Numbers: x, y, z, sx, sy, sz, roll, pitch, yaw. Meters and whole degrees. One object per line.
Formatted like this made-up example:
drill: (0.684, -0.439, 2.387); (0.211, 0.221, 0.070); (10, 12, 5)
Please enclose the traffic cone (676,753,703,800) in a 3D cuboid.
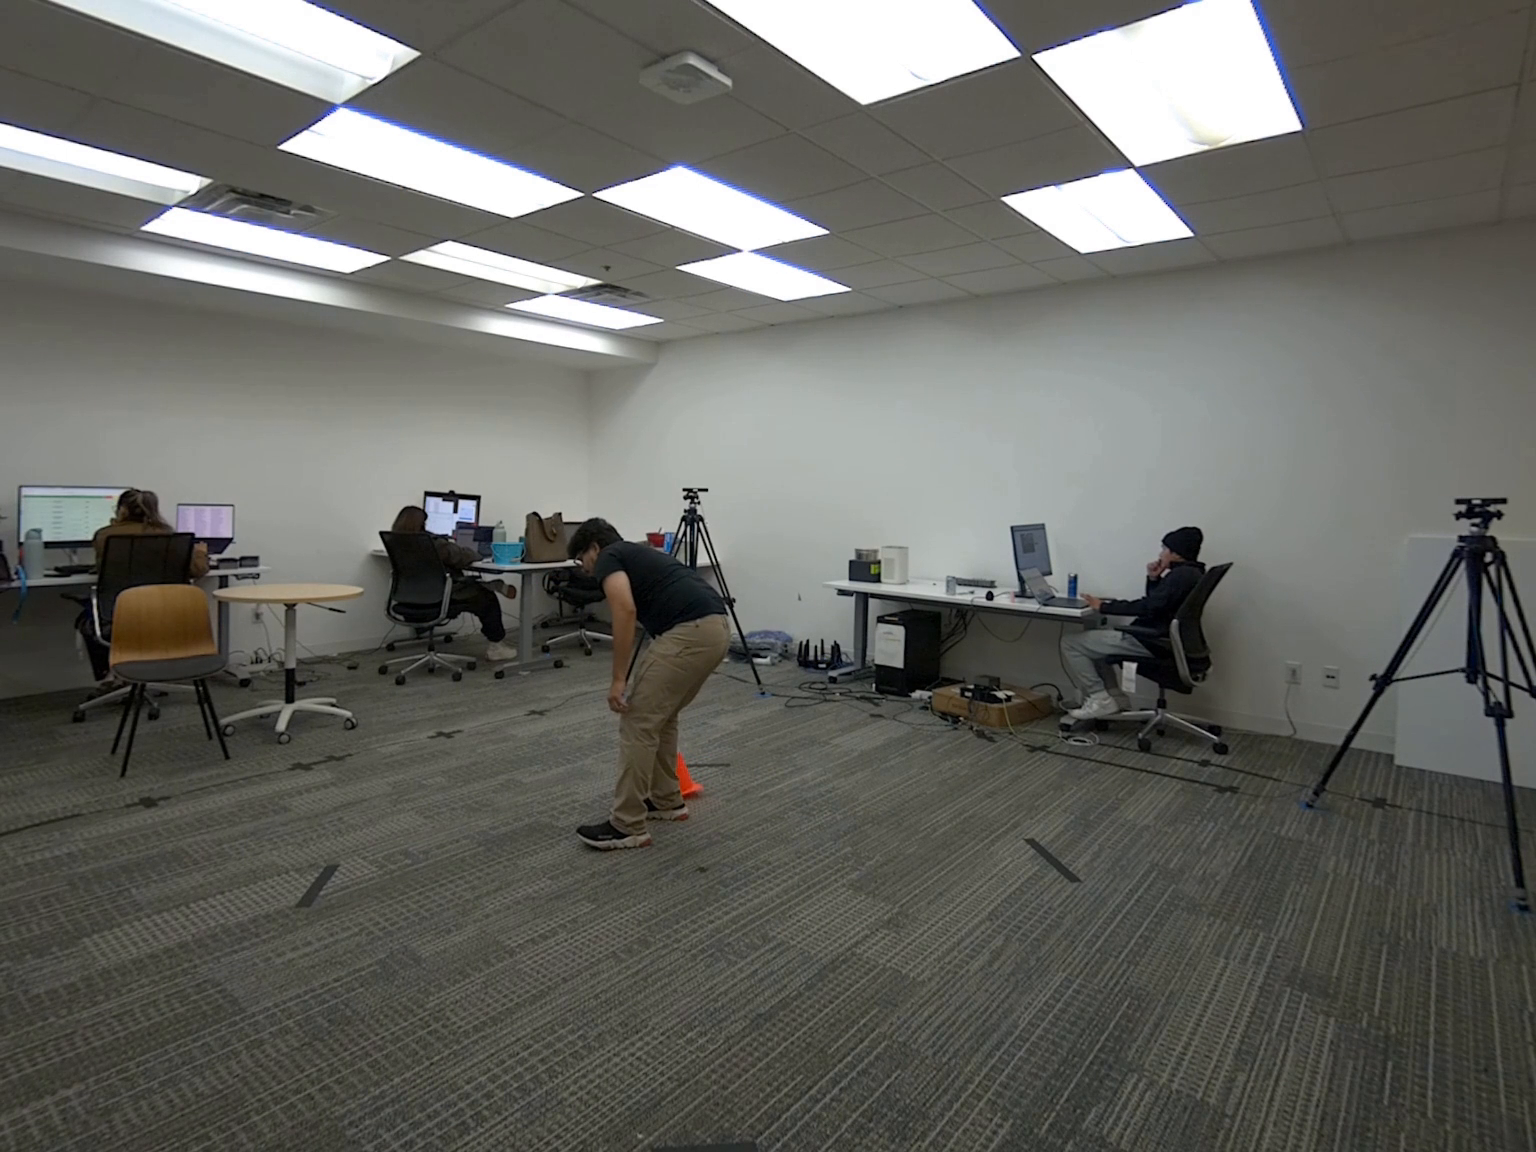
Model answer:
traffic cone: (-0.463, 0.799, 3.896); (0.201, 0.384, 0.207); (-10, 0, -25)
